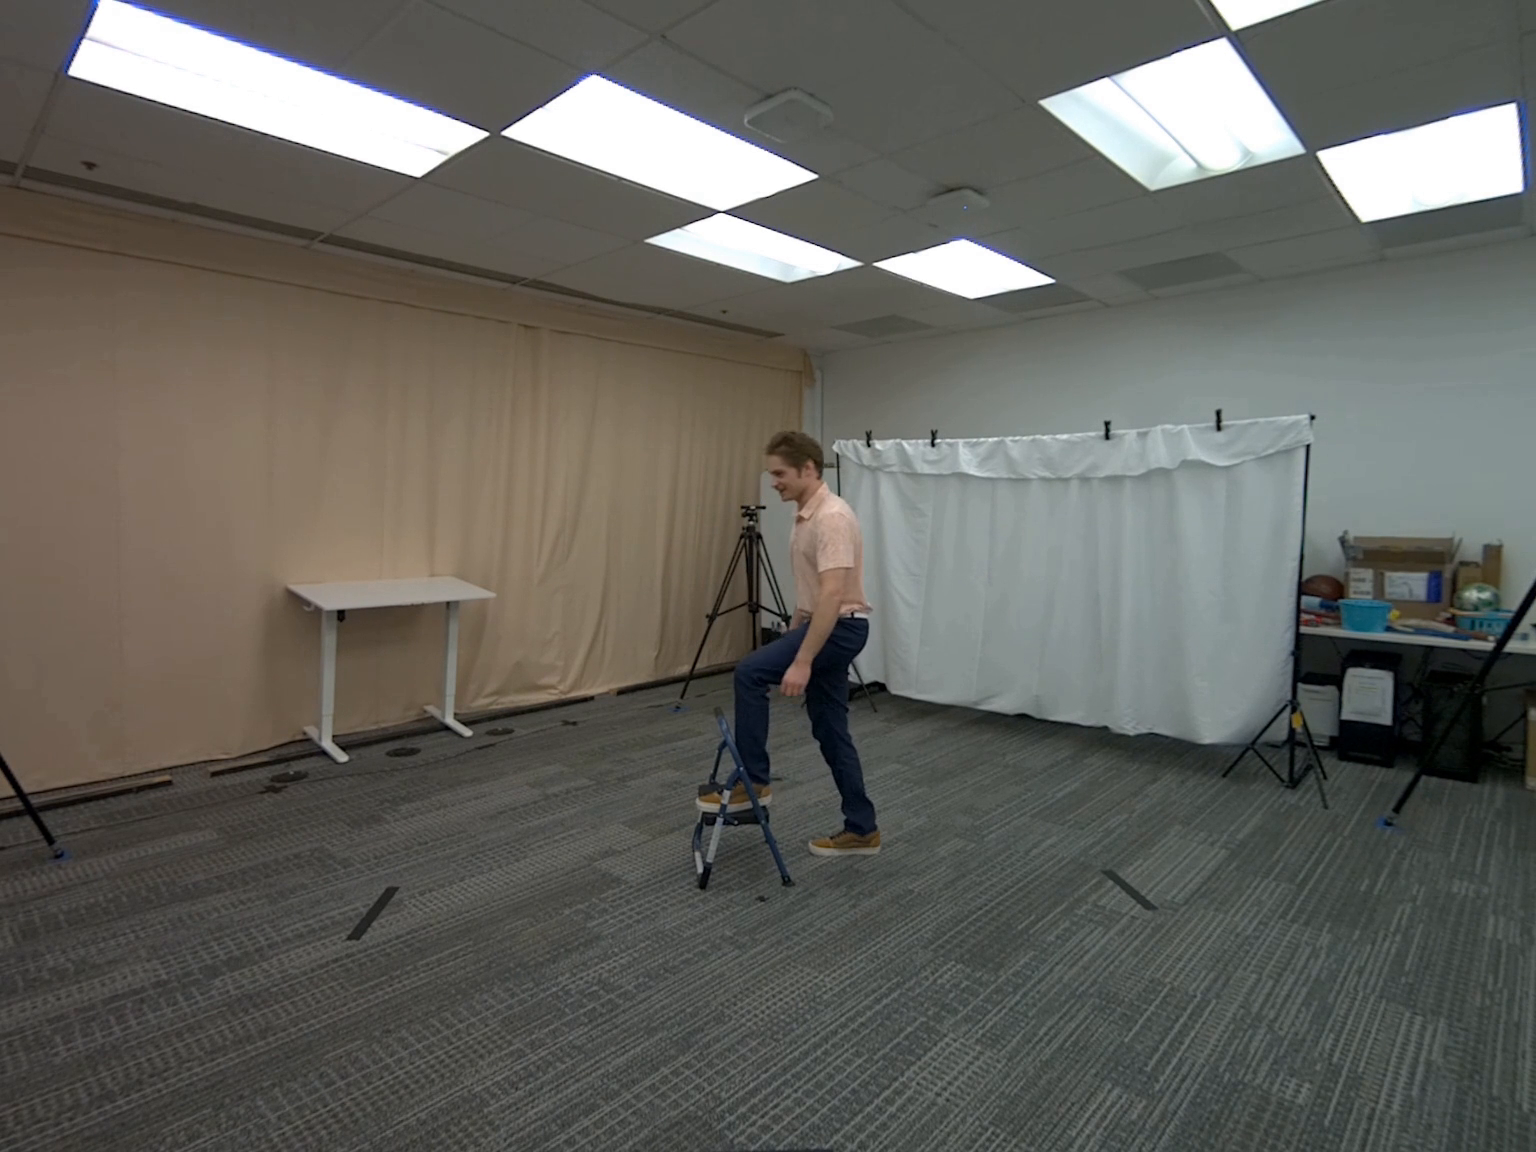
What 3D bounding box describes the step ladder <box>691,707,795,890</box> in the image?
[{"bbox_3d":[-0.113,0.823,3.258,0.346,0.605,0.435,0,3,-8],"label":"step ladder"}]
